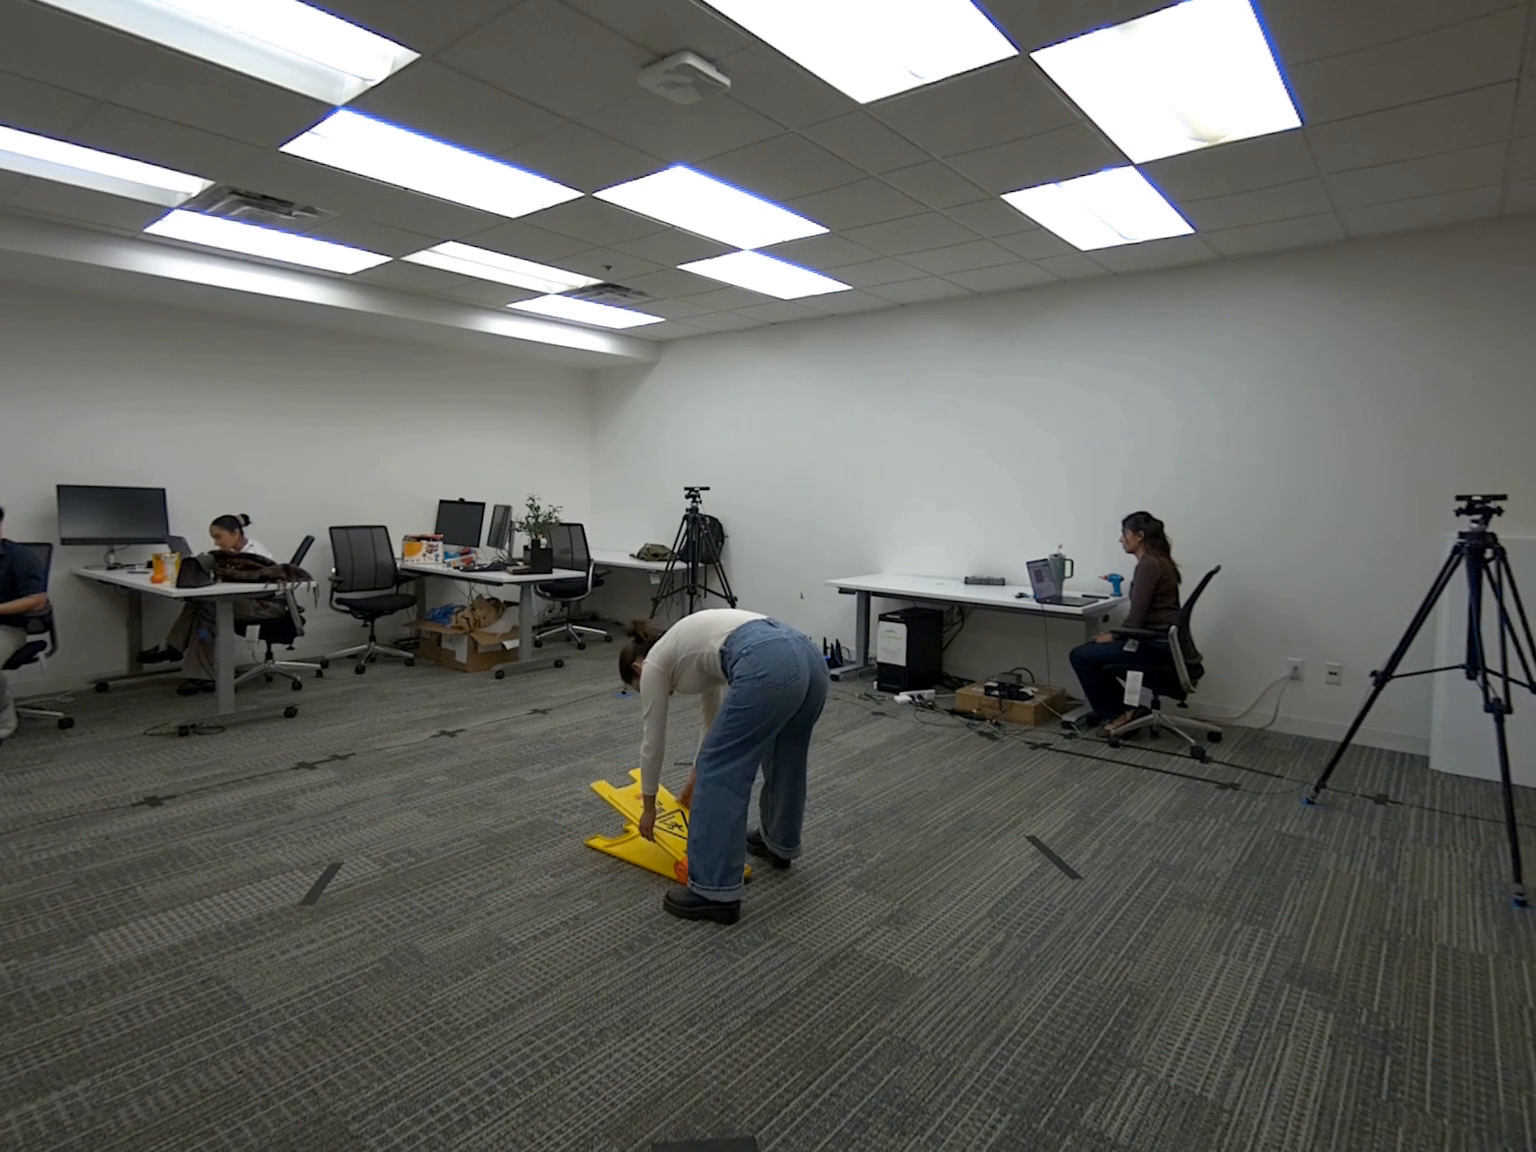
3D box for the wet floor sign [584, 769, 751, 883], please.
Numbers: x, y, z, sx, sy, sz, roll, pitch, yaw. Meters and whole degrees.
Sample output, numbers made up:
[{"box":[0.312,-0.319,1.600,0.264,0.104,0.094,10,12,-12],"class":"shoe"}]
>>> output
[{"box":[-0.373,0.979,3.169,0.671,0.287,0.274,19,16,38],"class":"wet floor sign"}]
